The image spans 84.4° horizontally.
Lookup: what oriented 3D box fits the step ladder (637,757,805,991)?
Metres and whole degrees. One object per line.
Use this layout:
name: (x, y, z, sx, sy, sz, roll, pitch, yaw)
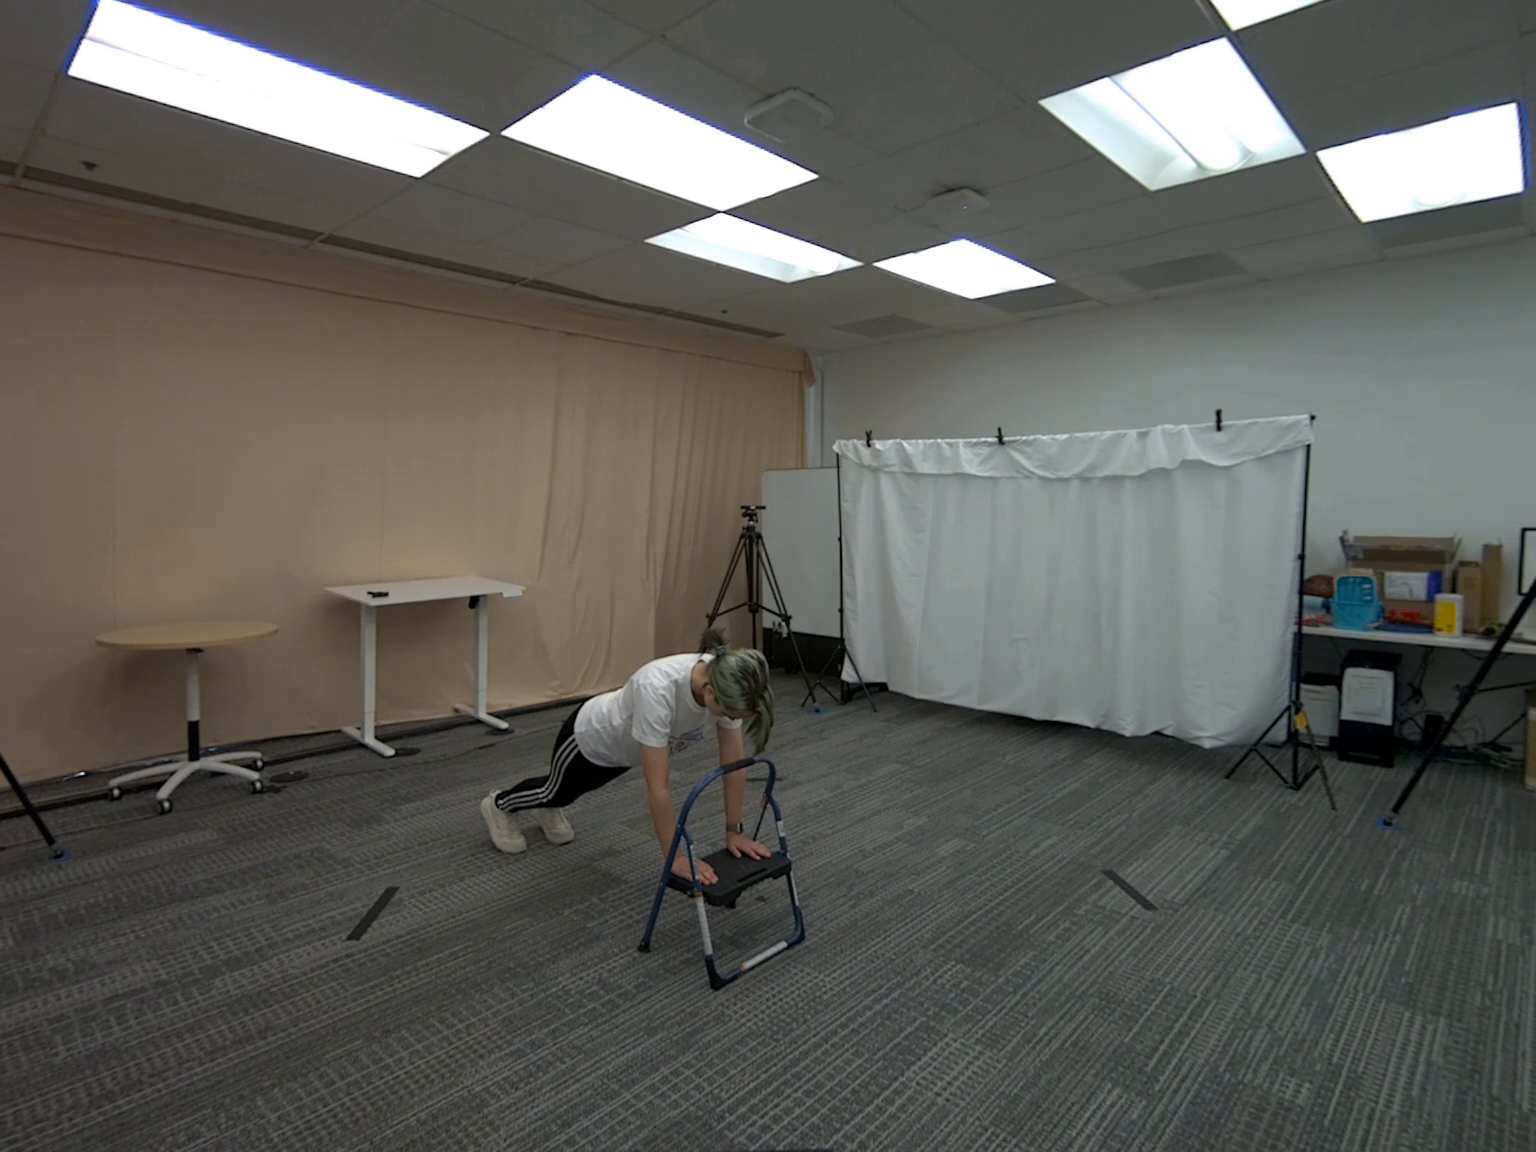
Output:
step ladder: (-0.139, 0.869, 2.662, 0.361, 0.605, 0.417, 3, 4, 42)
